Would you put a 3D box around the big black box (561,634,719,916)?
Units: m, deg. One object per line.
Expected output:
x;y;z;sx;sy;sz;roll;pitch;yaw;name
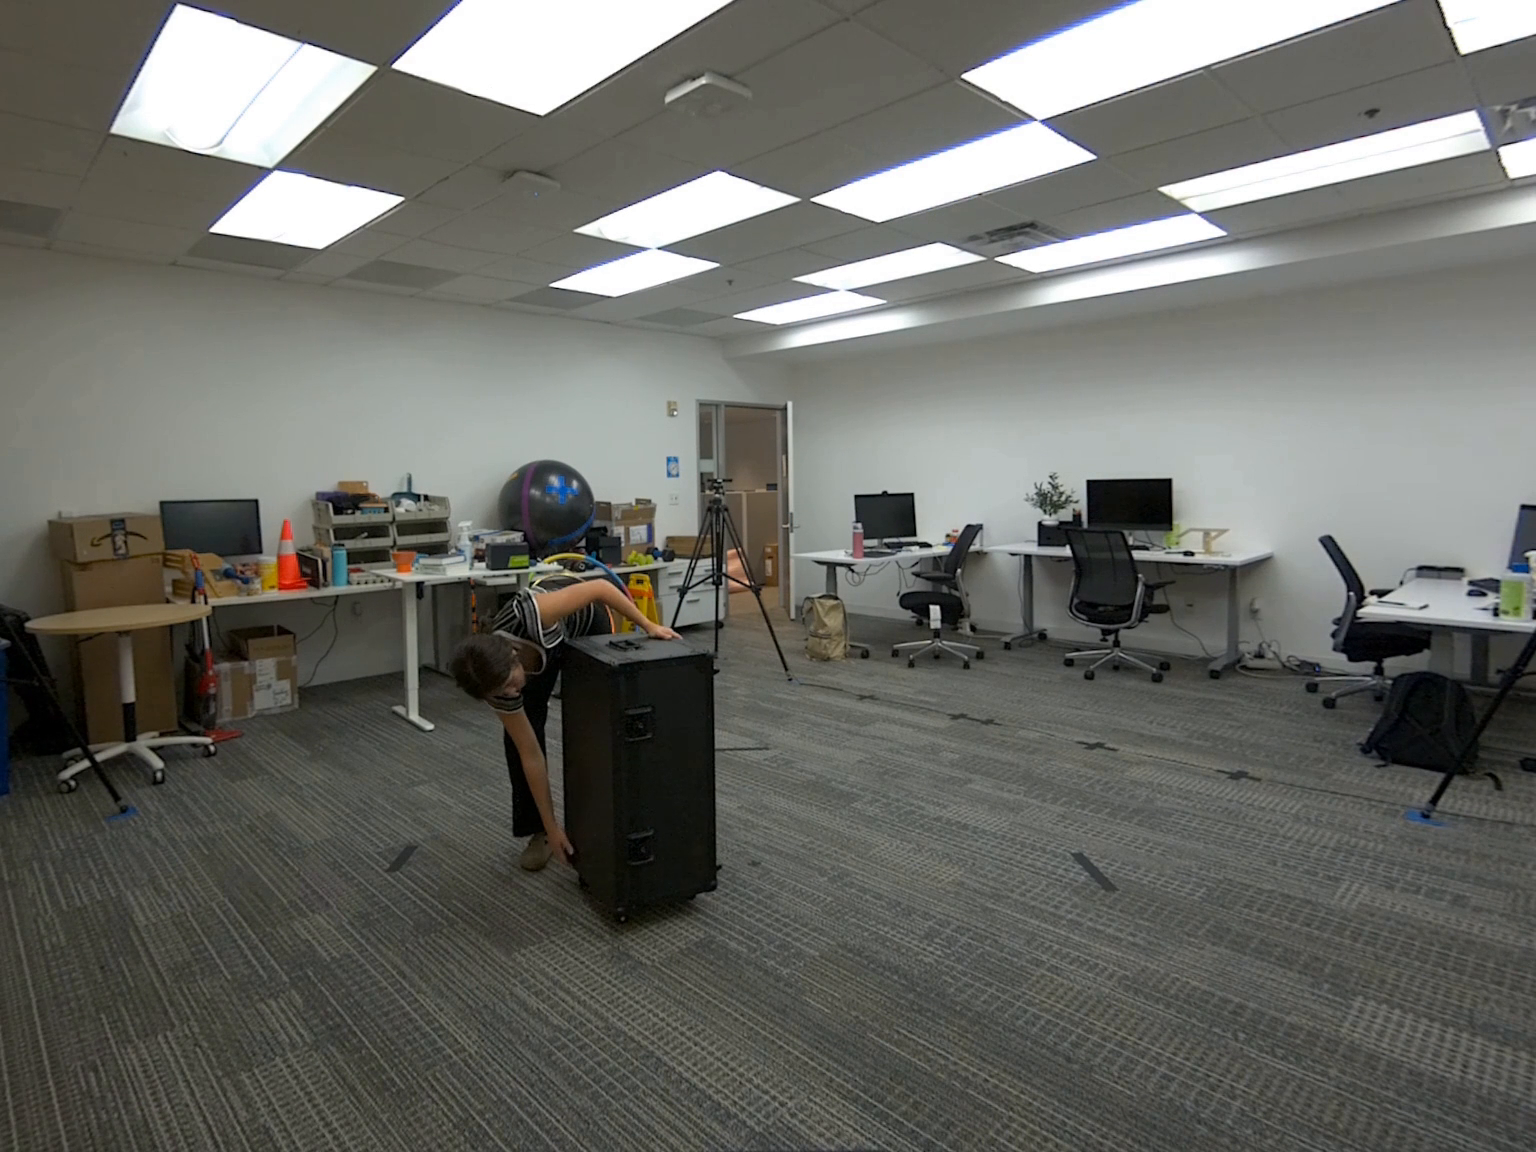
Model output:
-0.433;0.656;2.874;0.387;0.859;0.535;-3;4;-30;big black box
